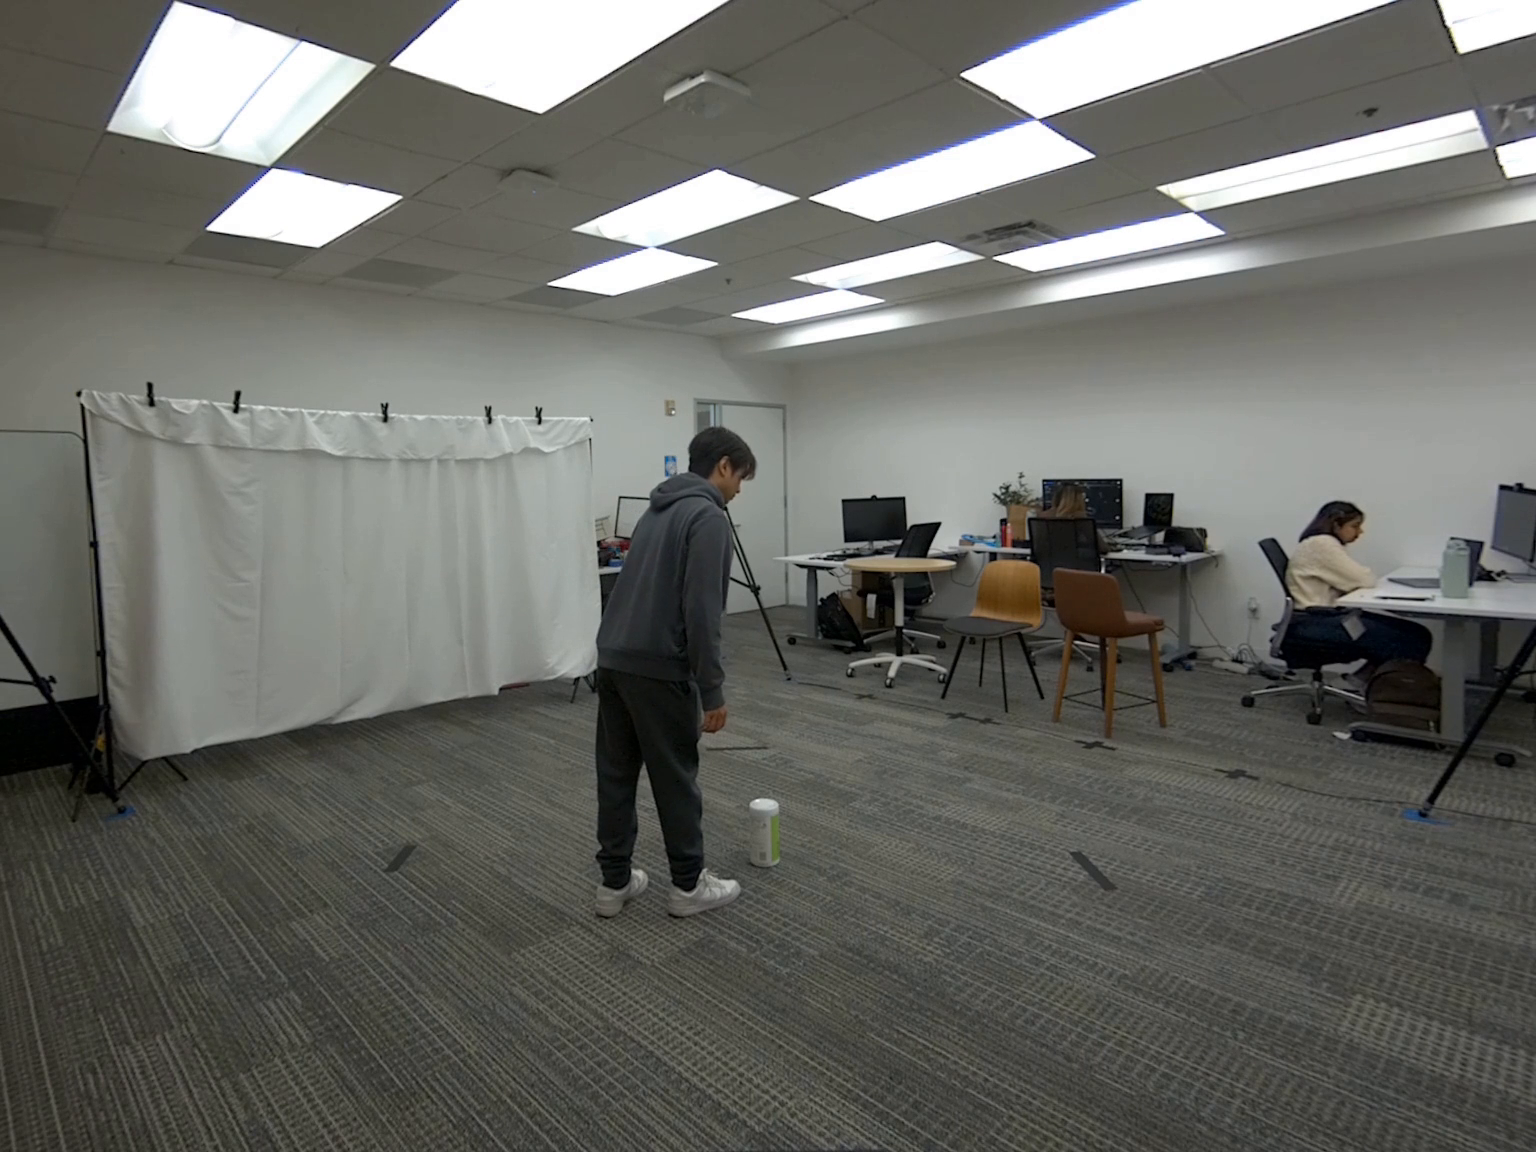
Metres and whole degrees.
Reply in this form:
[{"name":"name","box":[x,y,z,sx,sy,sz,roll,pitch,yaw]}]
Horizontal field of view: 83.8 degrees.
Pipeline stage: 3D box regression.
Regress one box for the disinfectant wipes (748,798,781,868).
[{"name":"disinfectant wipes","box":[-0.013,0.934,3.106,0.118,0.217,0.118,0,4,-2]}]
